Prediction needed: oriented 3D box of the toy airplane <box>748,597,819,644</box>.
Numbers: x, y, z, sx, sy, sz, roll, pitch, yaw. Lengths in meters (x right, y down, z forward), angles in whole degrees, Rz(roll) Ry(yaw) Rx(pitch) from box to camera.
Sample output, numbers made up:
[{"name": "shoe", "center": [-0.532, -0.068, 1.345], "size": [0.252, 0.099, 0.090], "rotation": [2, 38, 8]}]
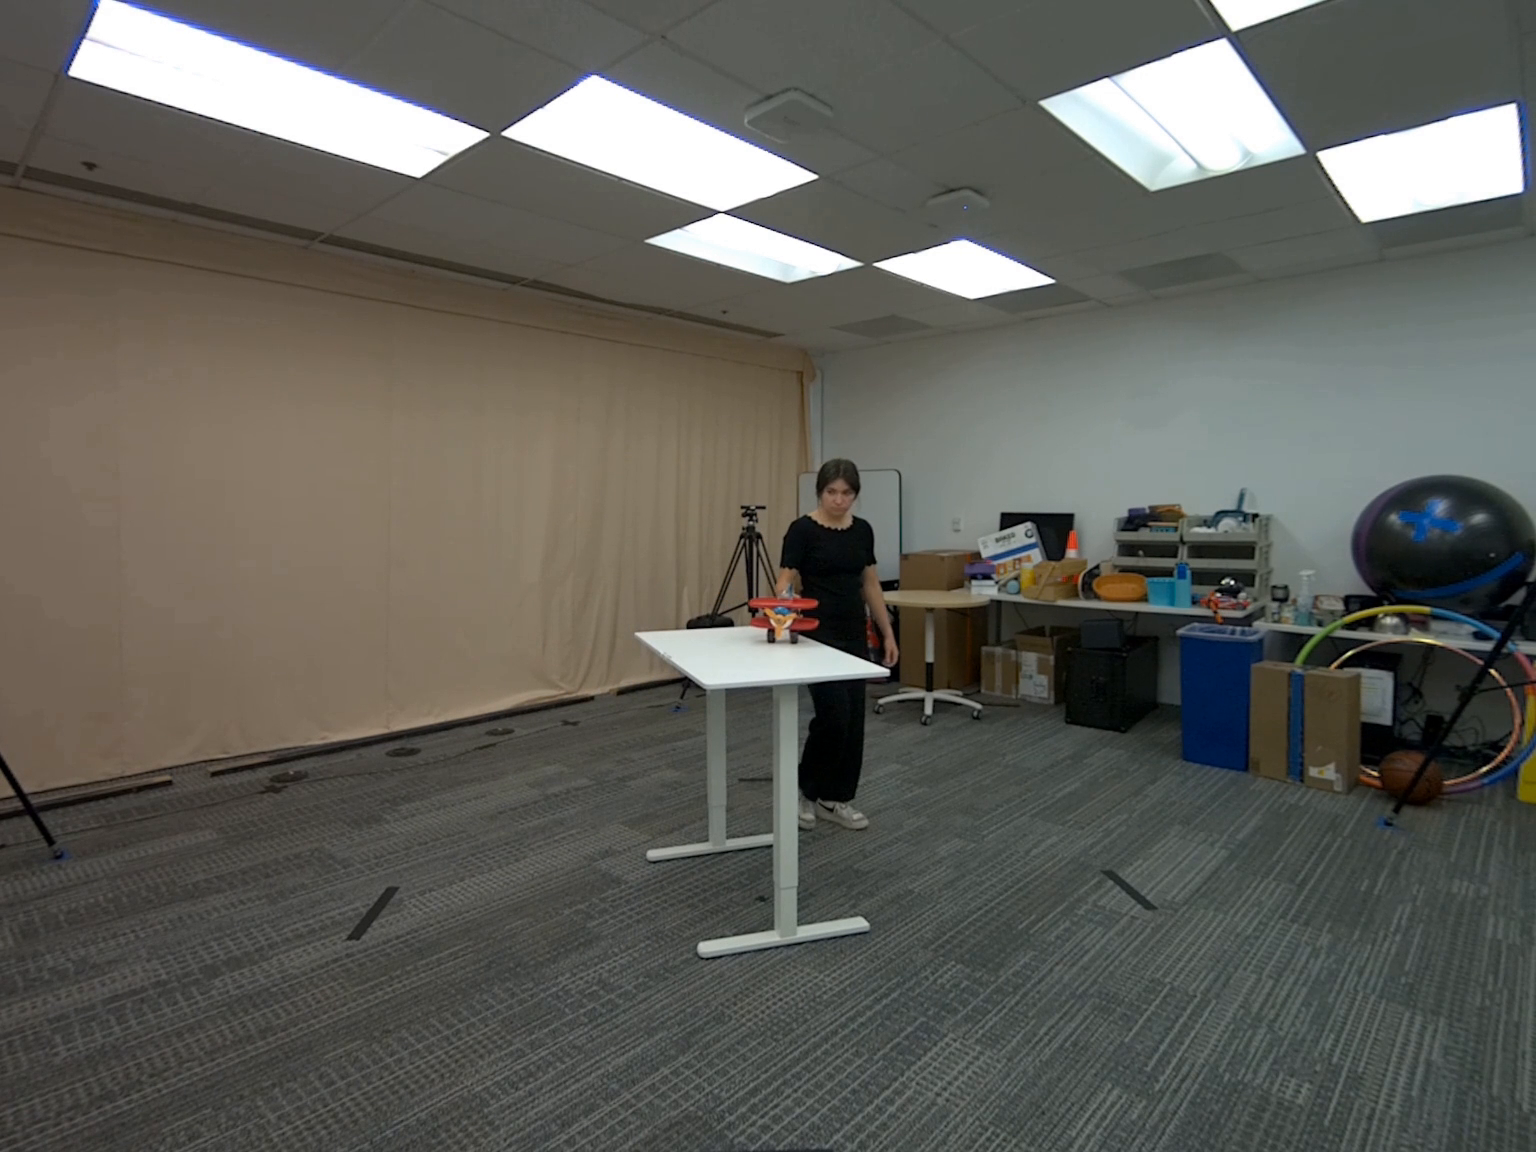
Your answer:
[{"name": "toy airplane", "center": [0.052, 0.138, 3.161], "size": [0.248, 0.153, 0.267], "rotation": [-13, 31, -12]}]
